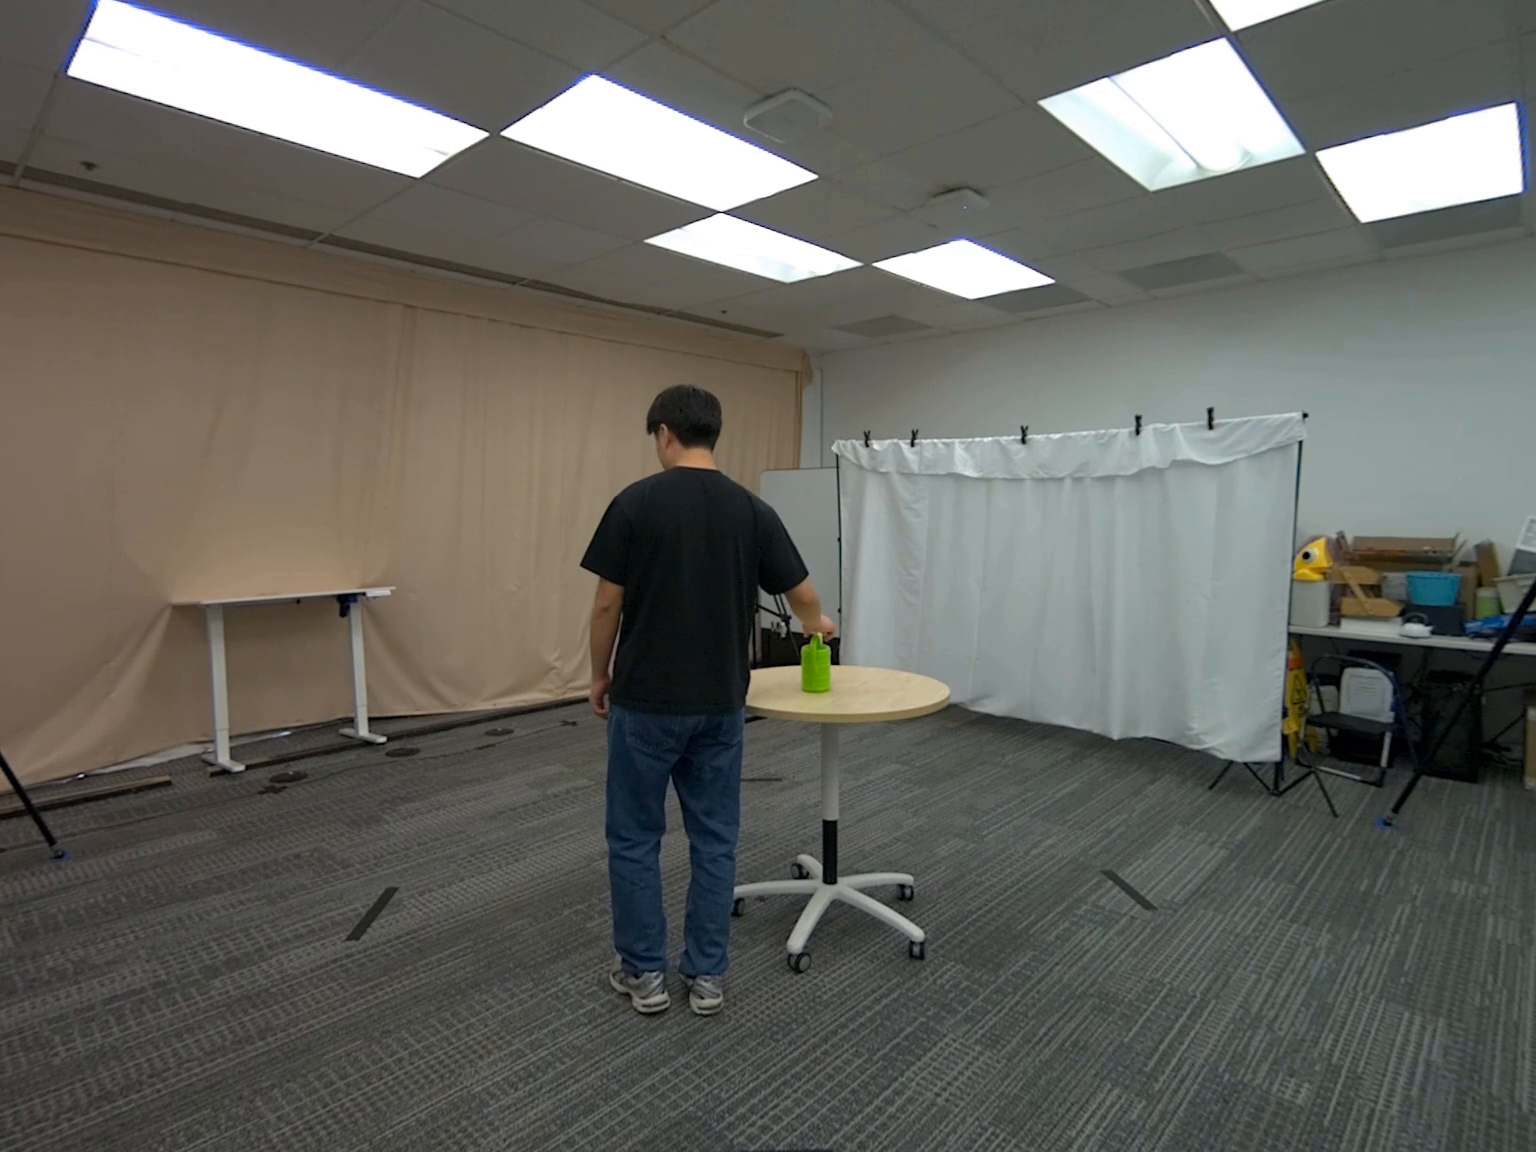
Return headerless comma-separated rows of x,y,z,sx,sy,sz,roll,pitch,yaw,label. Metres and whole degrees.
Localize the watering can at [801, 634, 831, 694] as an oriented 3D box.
0.179,0.281,2.768,0.100,0.176,0.273,1,7,23,watering can
